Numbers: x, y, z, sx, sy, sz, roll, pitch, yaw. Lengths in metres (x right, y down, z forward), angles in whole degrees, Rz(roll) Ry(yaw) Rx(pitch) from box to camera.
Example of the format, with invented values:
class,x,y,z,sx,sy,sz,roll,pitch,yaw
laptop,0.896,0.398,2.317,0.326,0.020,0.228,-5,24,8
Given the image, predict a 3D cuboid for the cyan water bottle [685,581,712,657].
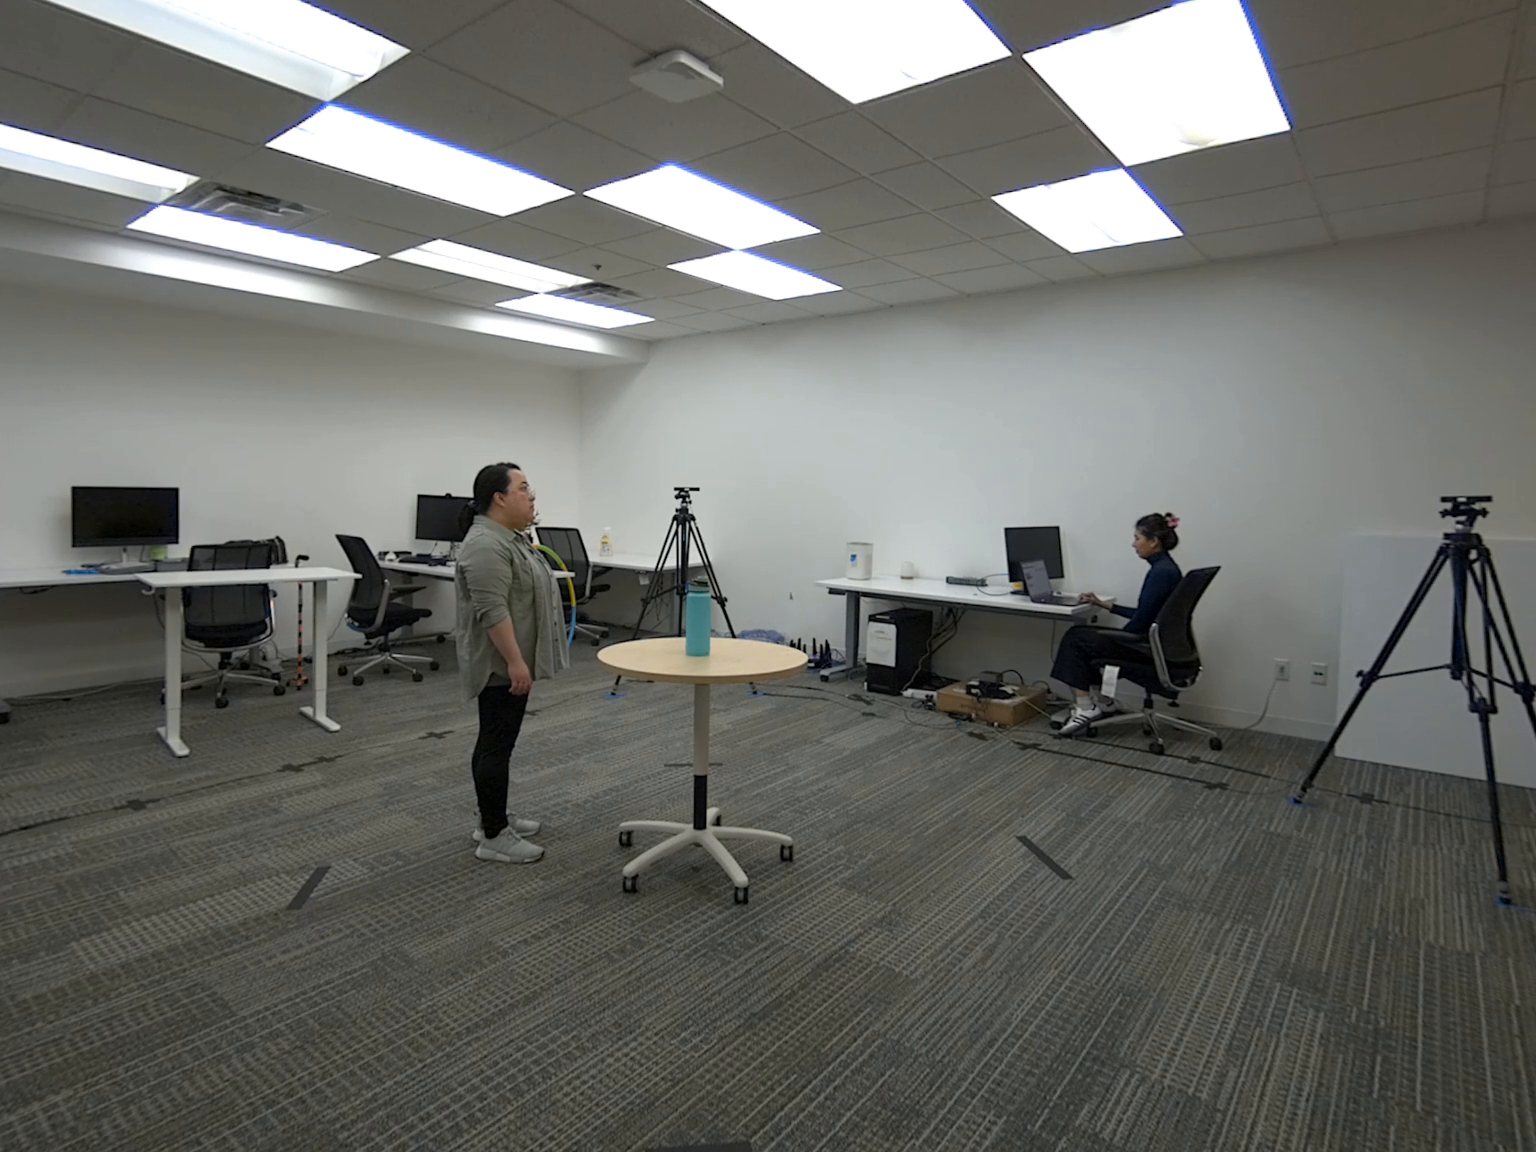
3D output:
class,x,y,z,sx,sy,sz,roll,pitch,yaw
cyan water bottle,-0.268,0.145,3.101,0.092,0.283,0.092,-3,2,-2
